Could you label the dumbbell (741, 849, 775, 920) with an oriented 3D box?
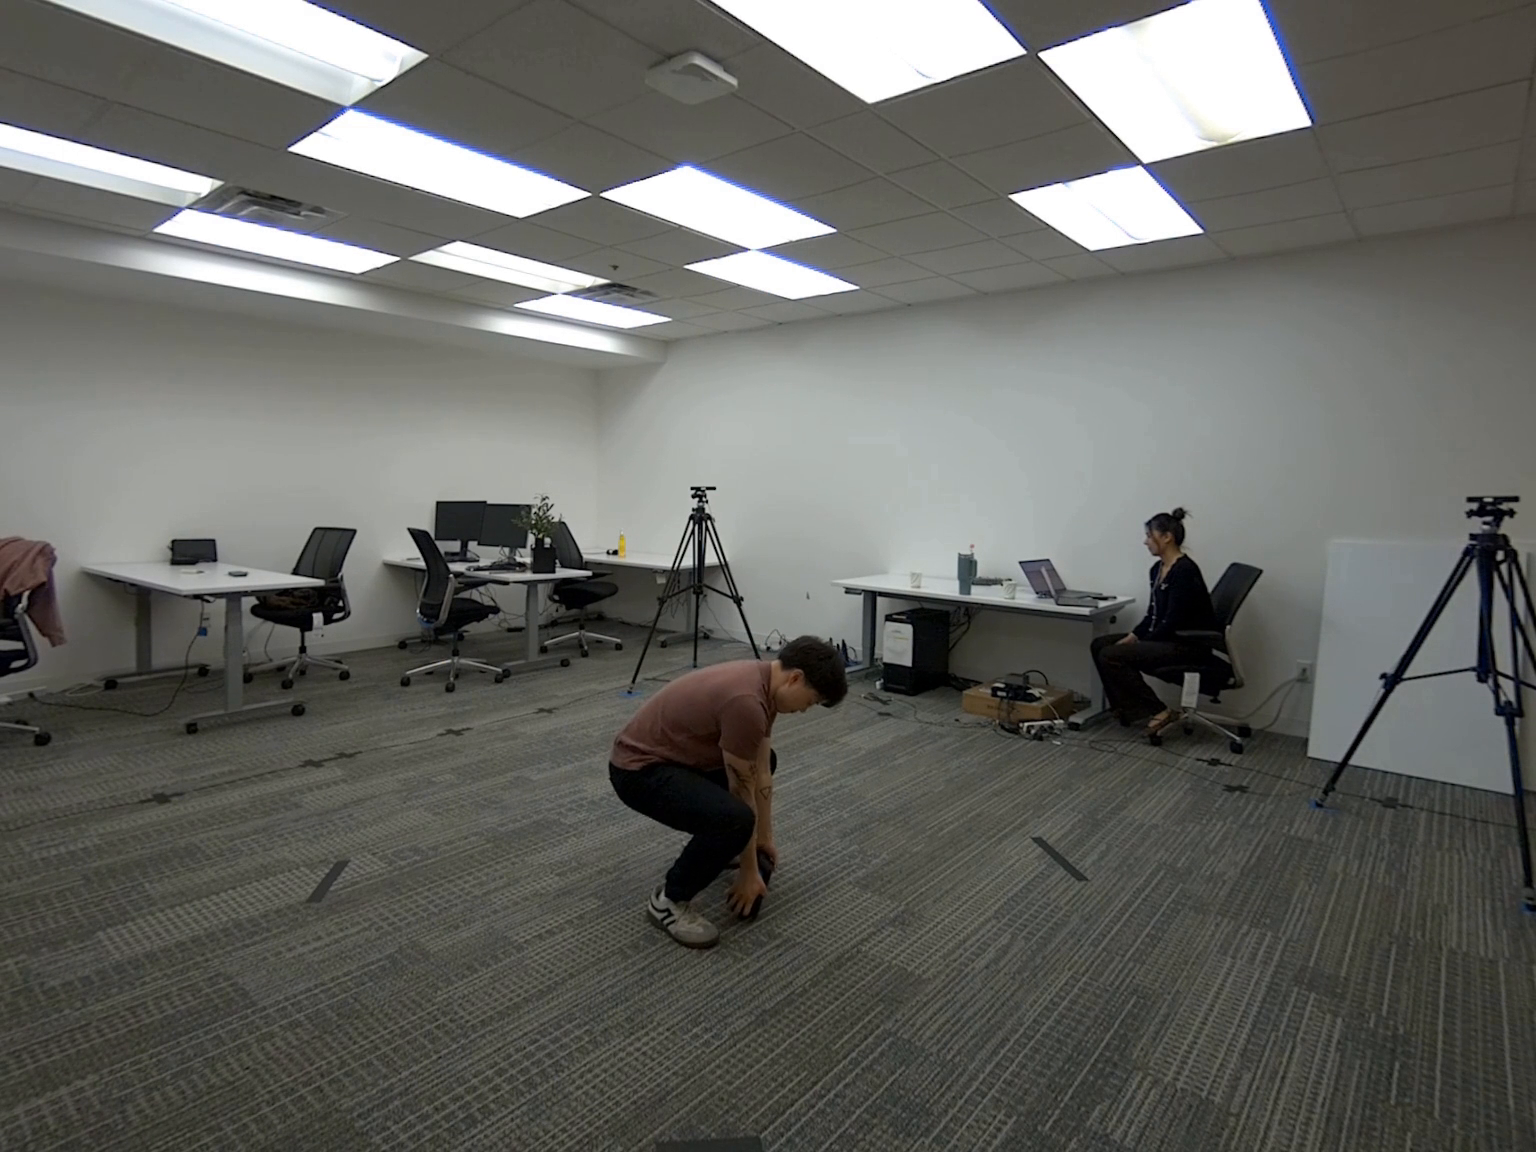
[{"bbox_3d":[-0.058,1.032,2.869,0.124,0.109,0.291,43,9,3],"label":"dumbbell"}]
